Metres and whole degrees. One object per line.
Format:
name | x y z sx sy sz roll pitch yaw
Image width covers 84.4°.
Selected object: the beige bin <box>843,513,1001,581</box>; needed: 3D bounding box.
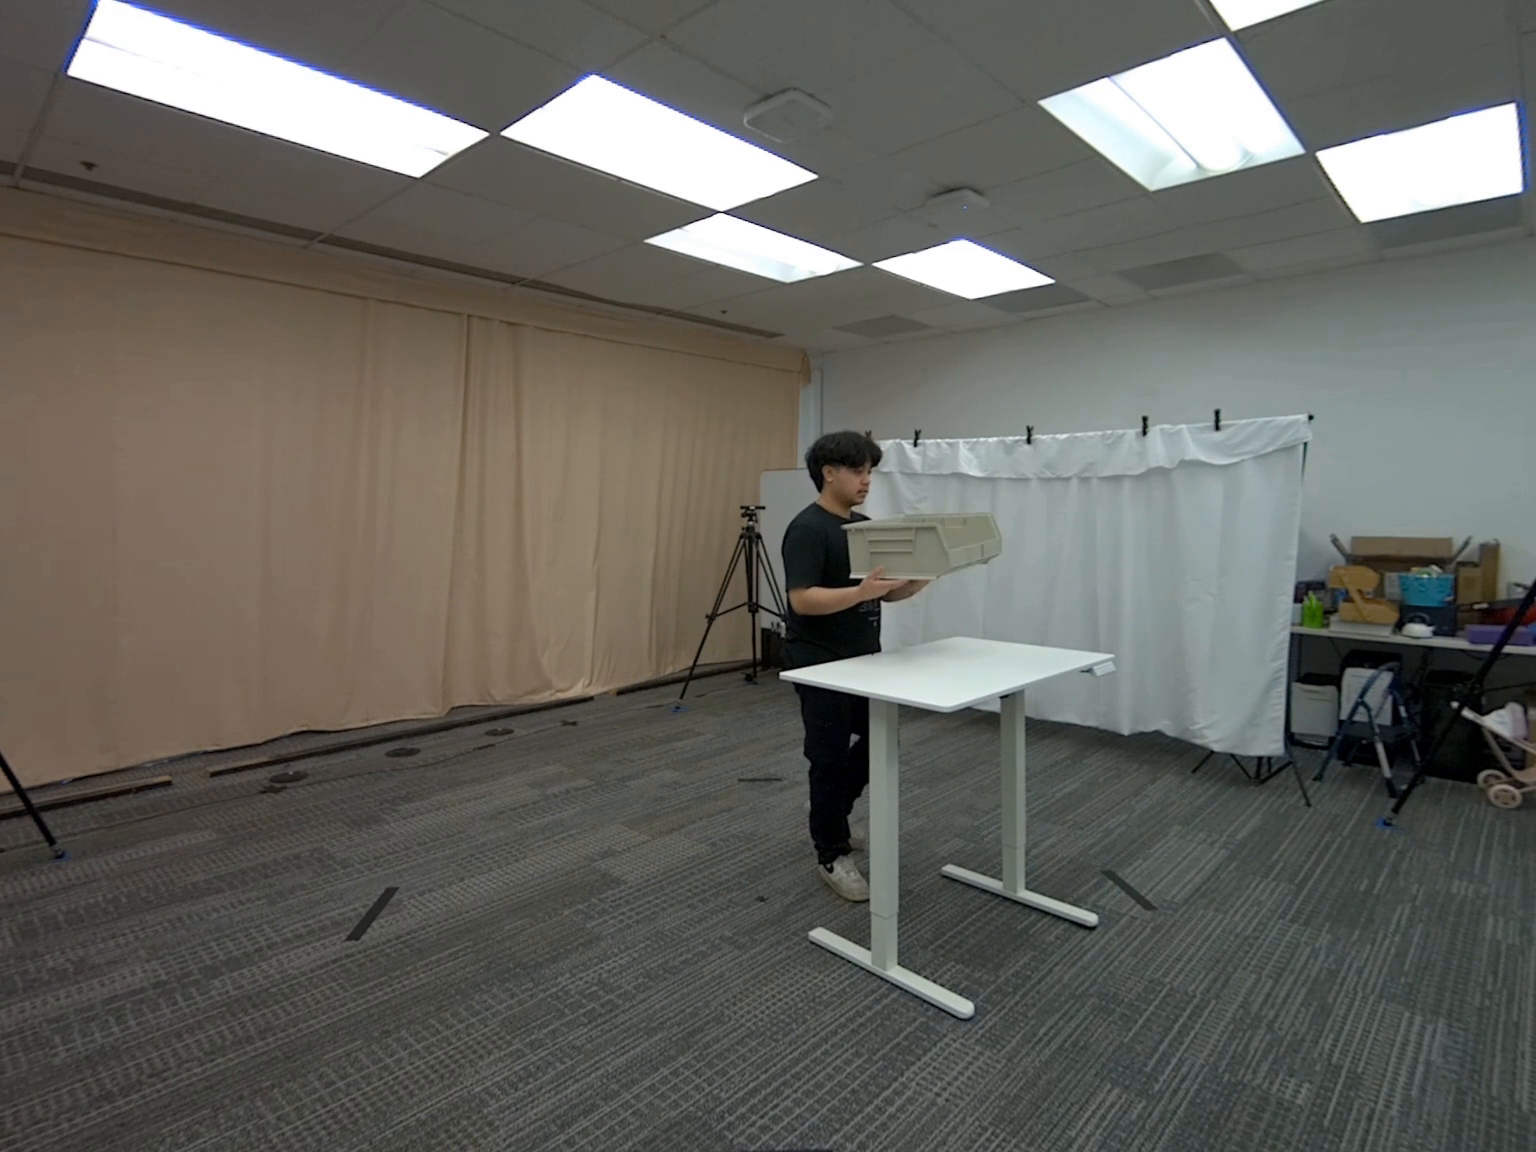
beige bin | 0.538 -0.105 2.857 0.389 0.188 0.411 -1 7 38
